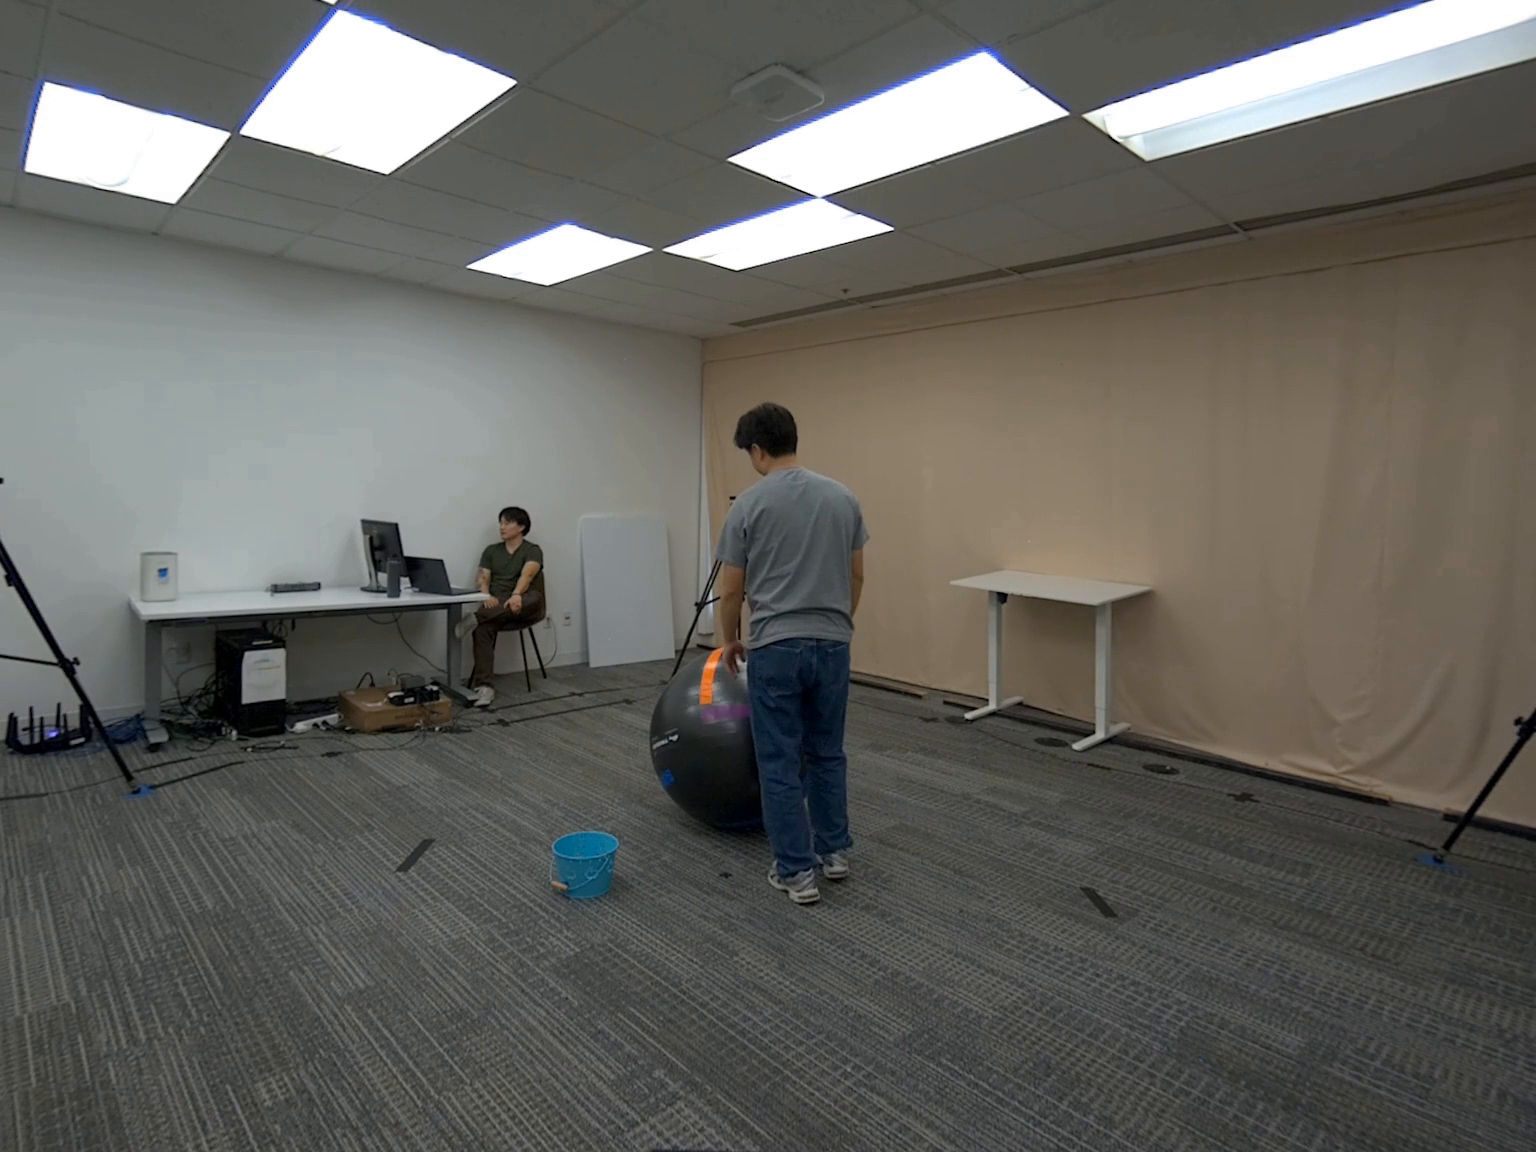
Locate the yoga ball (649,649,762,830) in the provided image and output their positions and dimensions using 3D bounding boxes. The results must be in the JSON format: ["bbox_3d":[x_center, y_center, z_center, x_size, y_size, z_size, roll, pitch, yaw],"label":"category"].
[{"bbox_3d":[-0.139,0.689,3.619,0.757,0.756,0.761,1,4,-1],"label":"yoga ball"}]
